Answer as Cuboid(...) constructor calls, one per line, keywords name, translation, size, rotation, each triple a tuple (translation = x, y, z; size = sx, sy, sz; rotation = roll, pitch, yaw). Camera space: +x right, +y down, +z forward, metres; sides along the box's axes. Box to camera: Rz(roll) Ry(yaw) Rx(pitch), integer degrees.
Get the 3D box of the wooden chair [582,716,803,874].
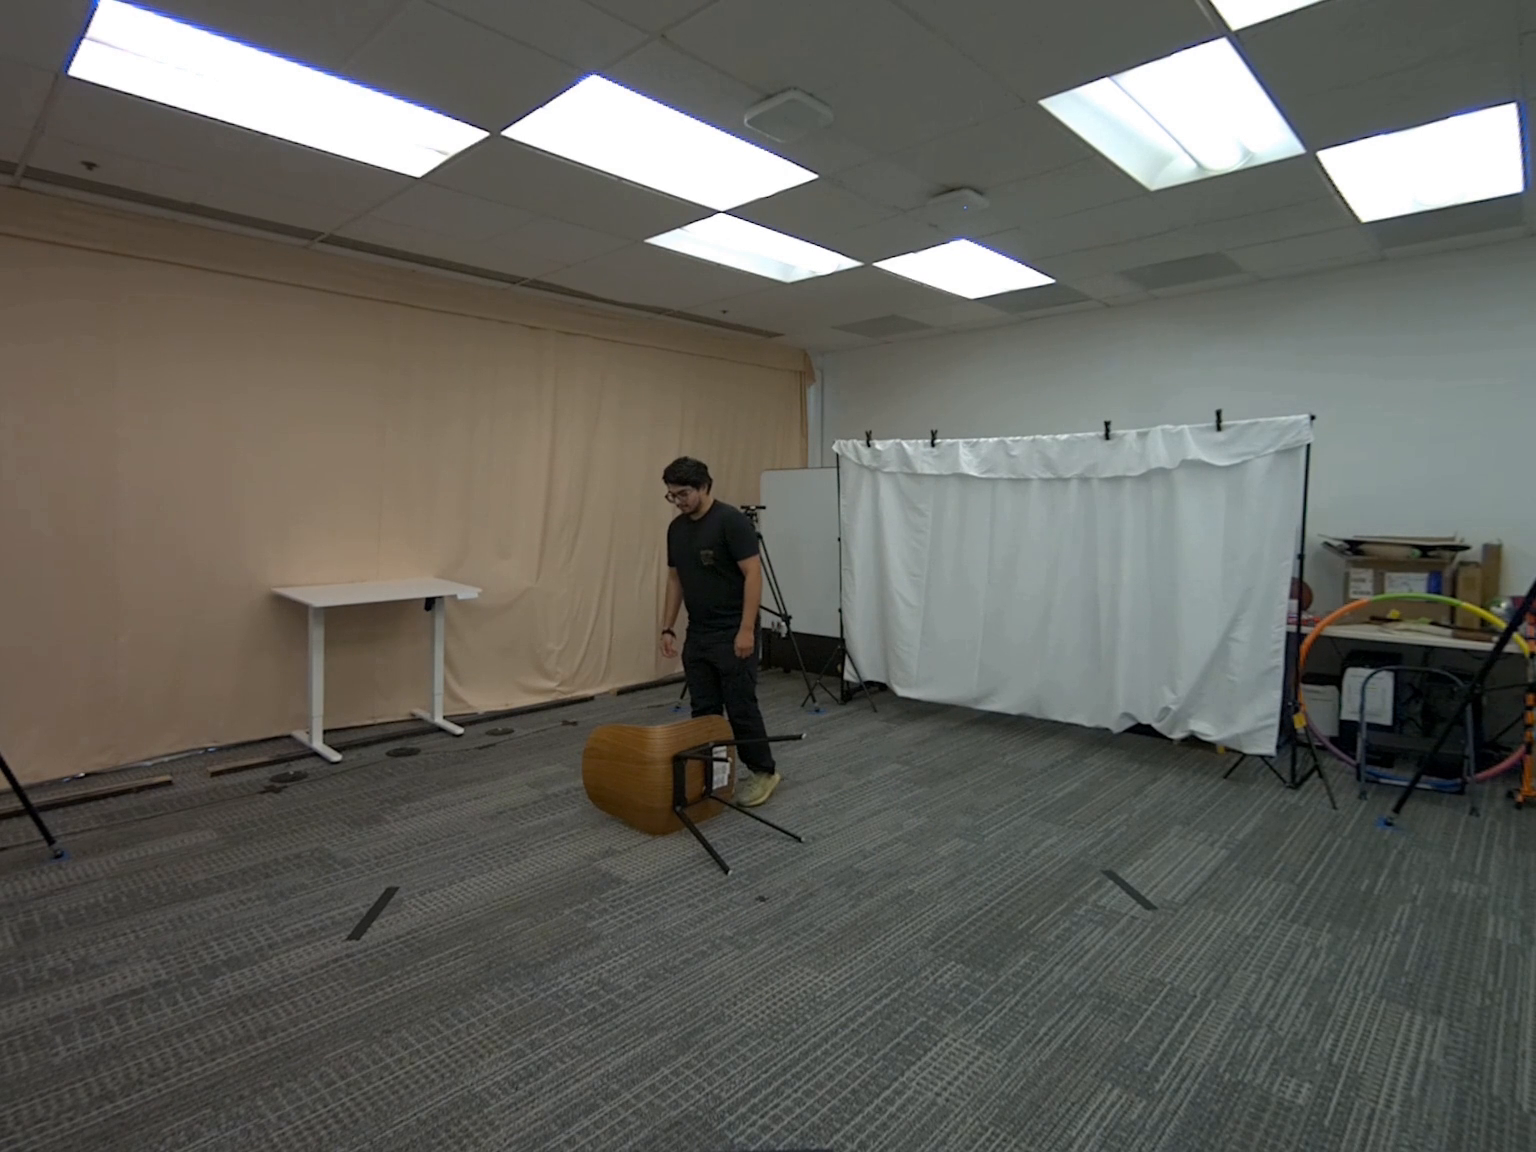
Cuboid(name="wooden chair", translation=(-0.317, 0.861, 3.616), size=(0.906, 0.477, 0.508), rotation=(3, 5, 38))
